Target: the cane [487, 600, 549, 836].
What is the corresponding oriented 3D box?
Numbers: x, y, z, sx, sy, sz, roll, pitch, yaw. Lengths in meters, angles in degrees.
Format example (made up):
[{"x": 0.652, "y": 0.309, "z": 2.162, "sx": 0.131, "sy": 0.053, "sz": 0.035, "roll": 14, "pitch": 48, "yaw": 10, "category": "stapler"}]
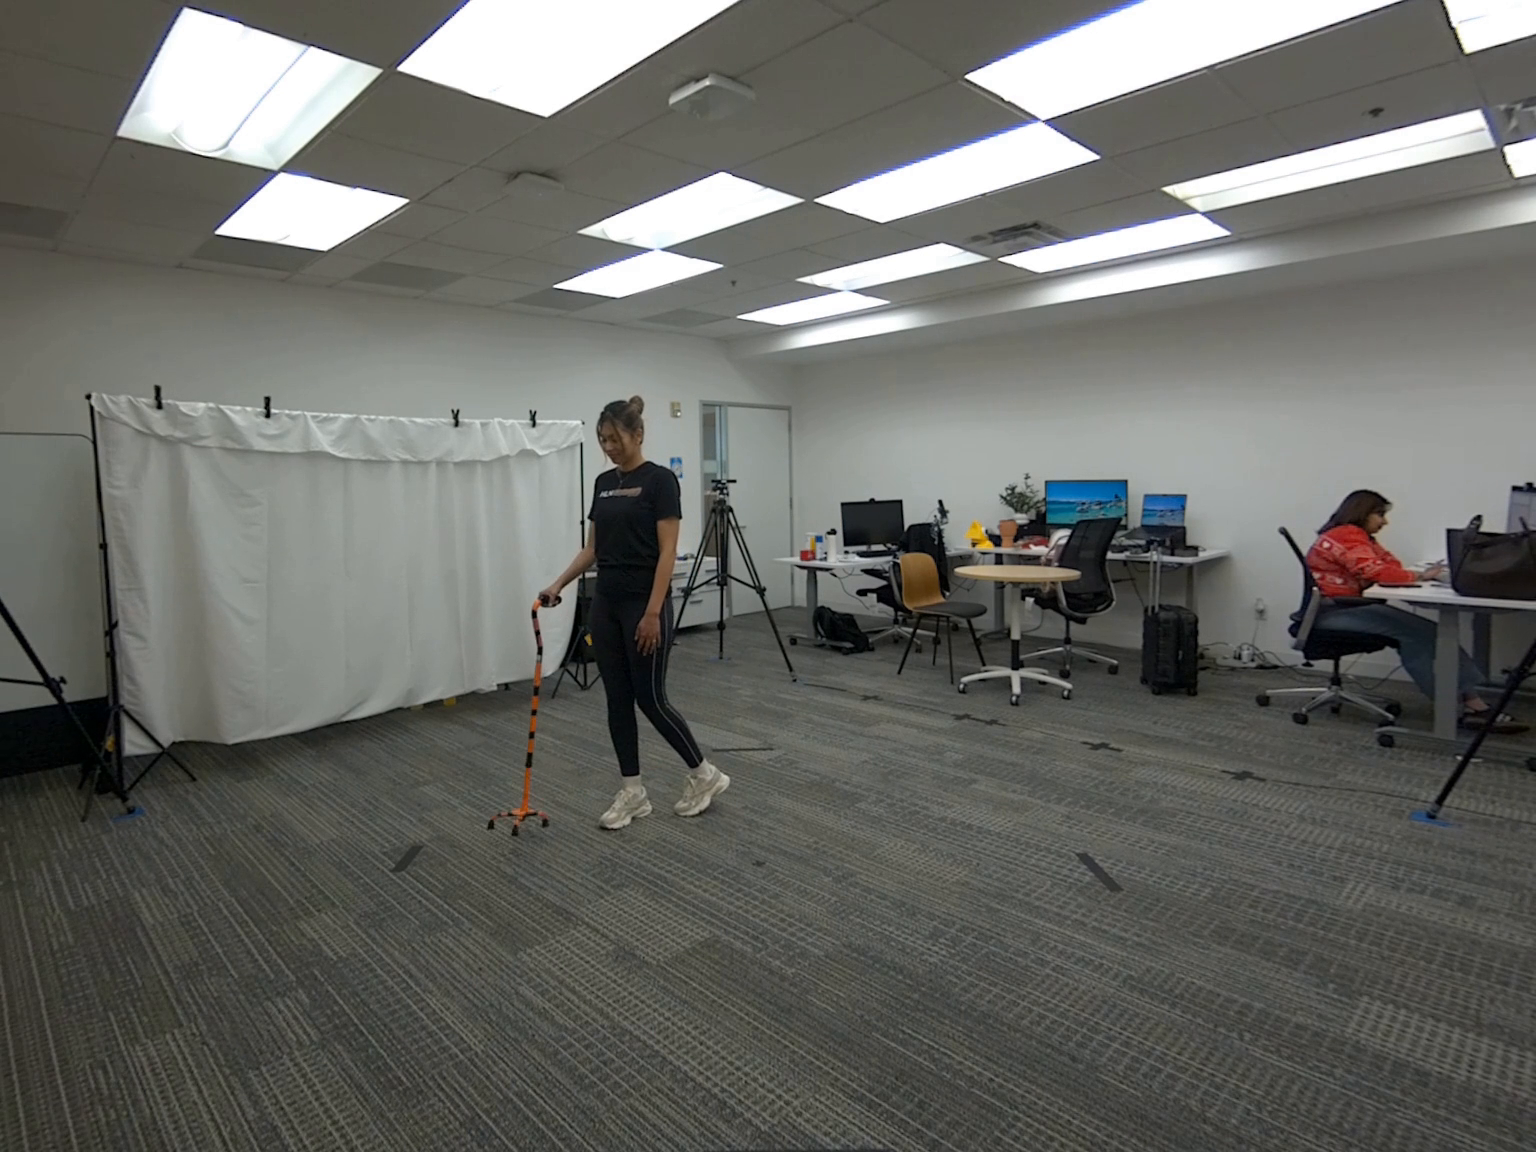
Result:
[{"x": -0.929, "y": 0.535, "z": 3.375, "sx": 0.155, "sy": 0.910, "sz": 0.201, "roll": 2, "pitch": -3, "yaw": 26, "category": "cane"}]
